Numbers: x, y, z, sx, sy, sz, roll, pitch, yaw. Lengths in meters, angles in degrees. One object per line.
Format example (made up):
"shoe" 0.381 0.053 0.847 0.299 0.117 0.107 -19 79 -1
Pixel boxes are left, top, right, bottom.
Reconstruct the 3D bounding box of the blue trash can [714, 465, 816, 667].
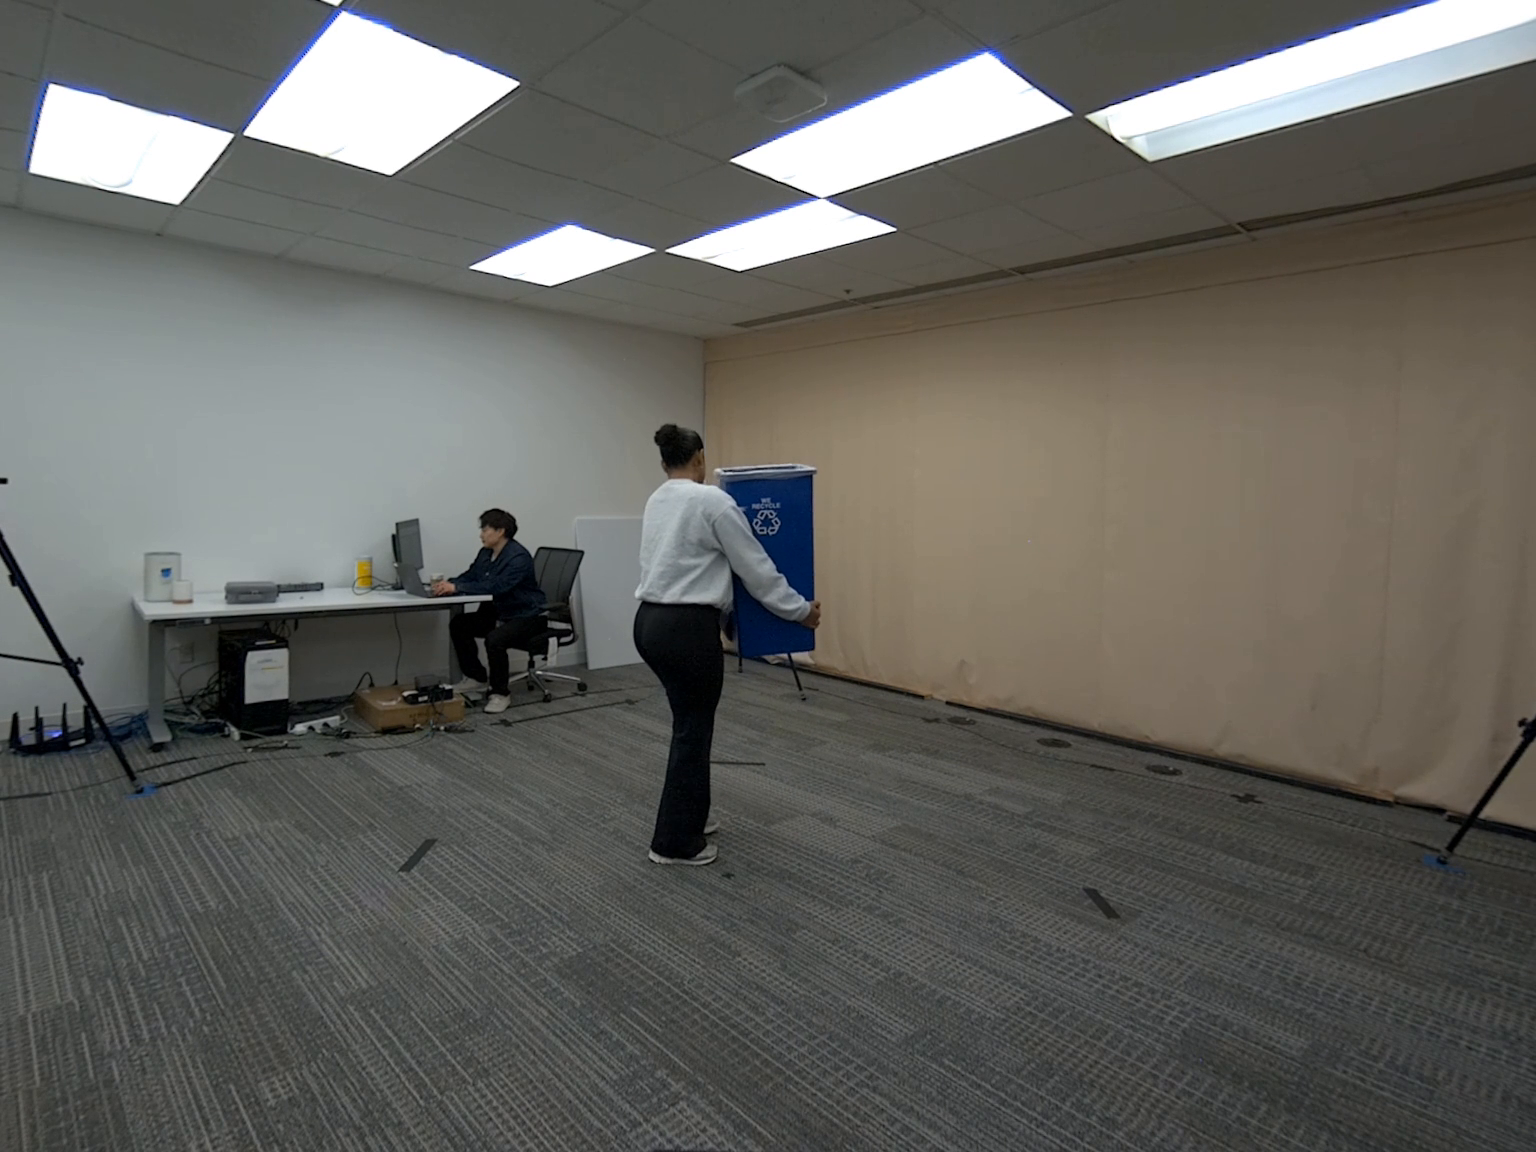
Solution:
"blue trash can" -0.010 -0.074 3.351 0.376 0.709 0.378 -4 8 -8
